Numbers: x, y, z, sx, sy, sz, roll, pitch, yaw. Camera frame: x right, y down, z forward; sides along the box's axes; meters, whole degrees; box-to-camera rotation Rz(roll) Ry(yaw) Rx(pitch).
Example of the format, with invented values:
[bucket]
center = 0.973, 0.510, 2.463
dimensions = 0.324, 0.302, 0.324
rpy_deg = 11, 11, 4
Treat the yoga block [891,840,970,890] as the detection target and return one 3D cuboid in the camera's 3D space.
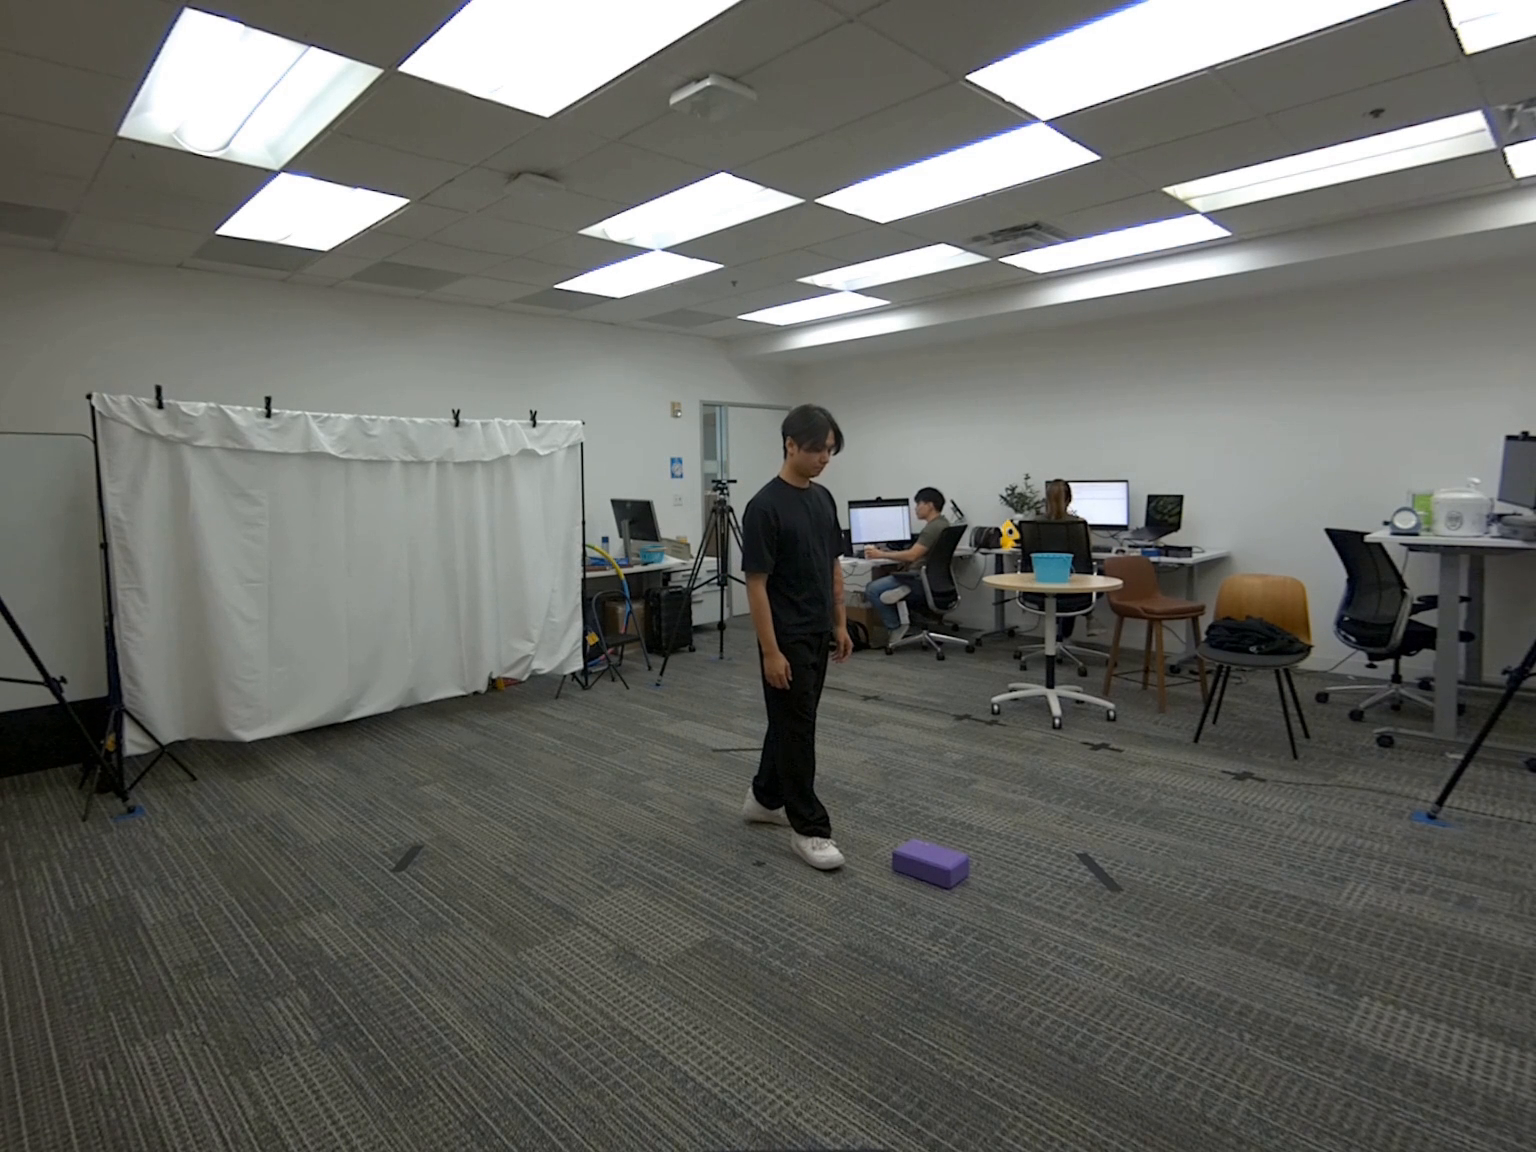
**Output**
[yoga block]
center = 0.570, 1.008, 3.004
dimensions = 0.236, 0.076, 0.145
rpy_deg = 5, 8, 41
